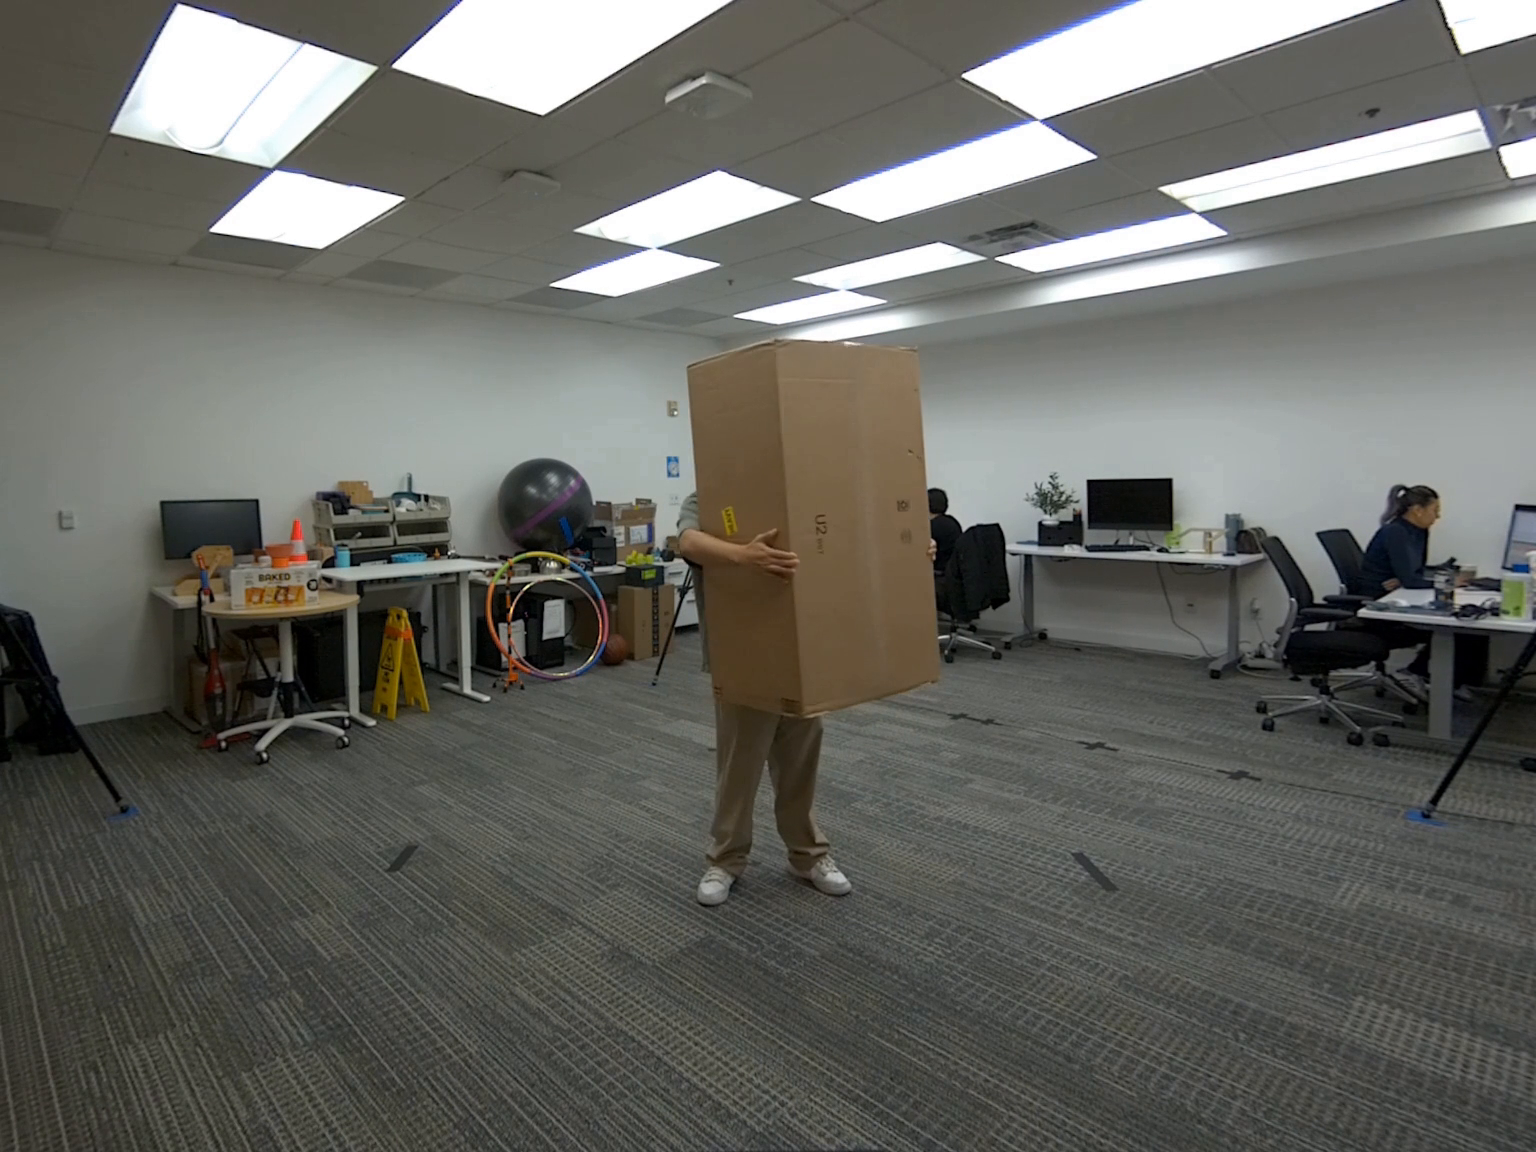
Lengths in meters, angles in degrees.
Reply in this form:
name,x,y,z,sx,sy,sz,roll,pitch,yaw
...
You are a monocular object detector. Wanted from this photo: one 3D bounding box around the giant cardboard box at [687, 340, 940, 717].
name,x,y,z,sx,sy,sz,roll,pitch,yaw
giant cardboard box,0.140,-0.159,2.602,0.563,1.023,0.438,-7,4,-37
